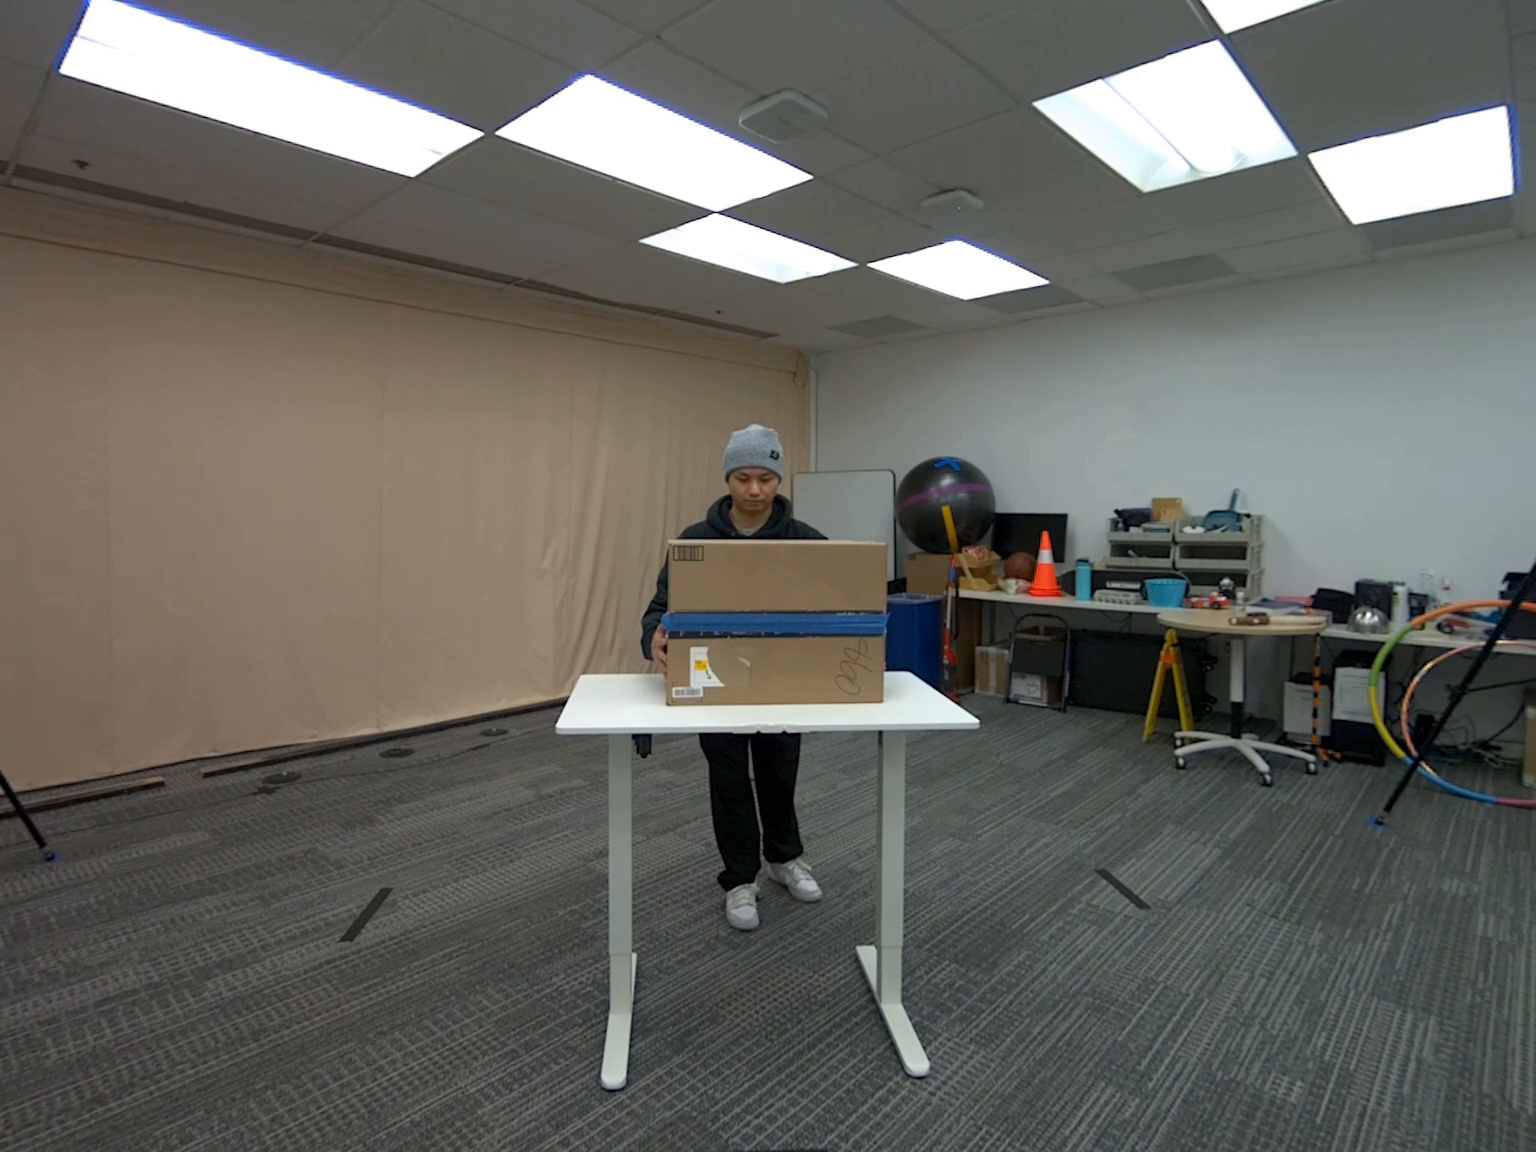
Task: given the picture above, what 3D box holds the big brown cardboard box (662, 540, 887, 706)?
[{"bbox_3d":[0.010,0.116,2.261,0.586,0.416,0.235,-1,4,-5],"label":"big brown cardboard box"}]
